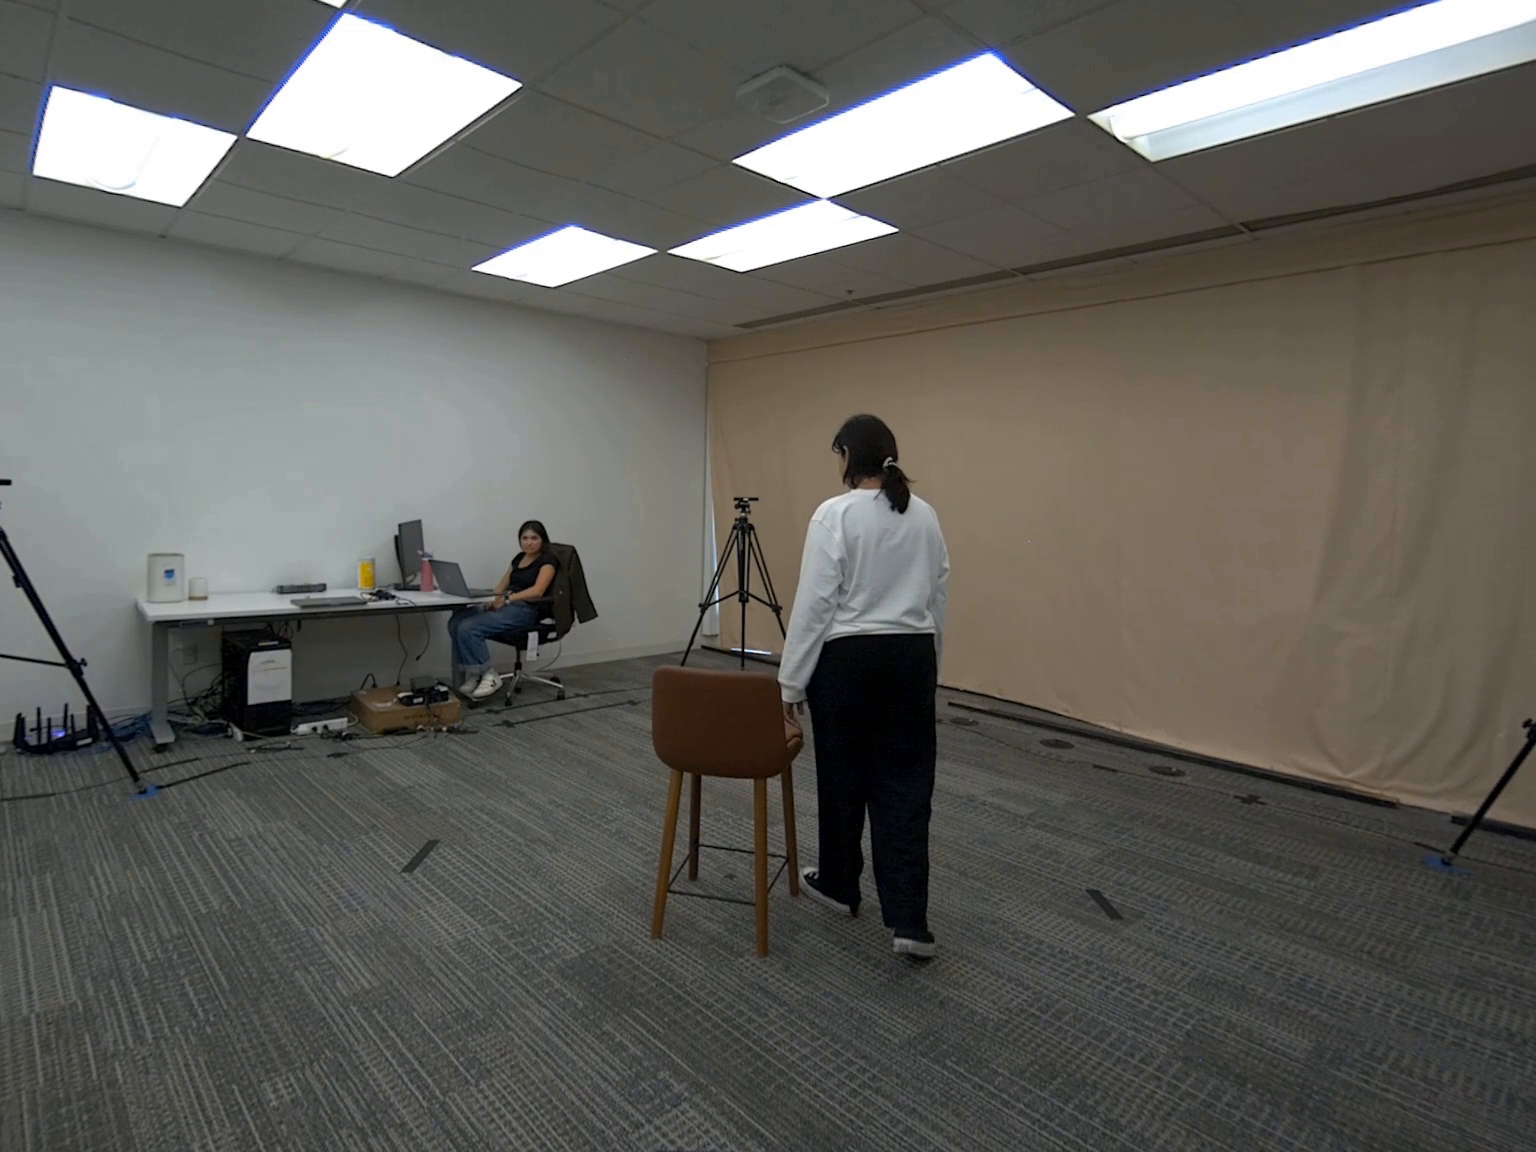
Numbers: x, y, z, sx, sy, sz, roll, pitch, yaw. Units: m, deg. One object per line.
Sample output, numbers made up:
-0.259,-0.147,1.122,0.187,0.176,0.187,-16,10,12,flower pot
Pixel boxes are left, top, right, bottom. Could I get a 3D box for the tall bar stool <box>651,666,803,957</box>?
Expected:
-0.133,0.703,2.793,0.462,0.887,0.463,2,5,15,tall bar stool
